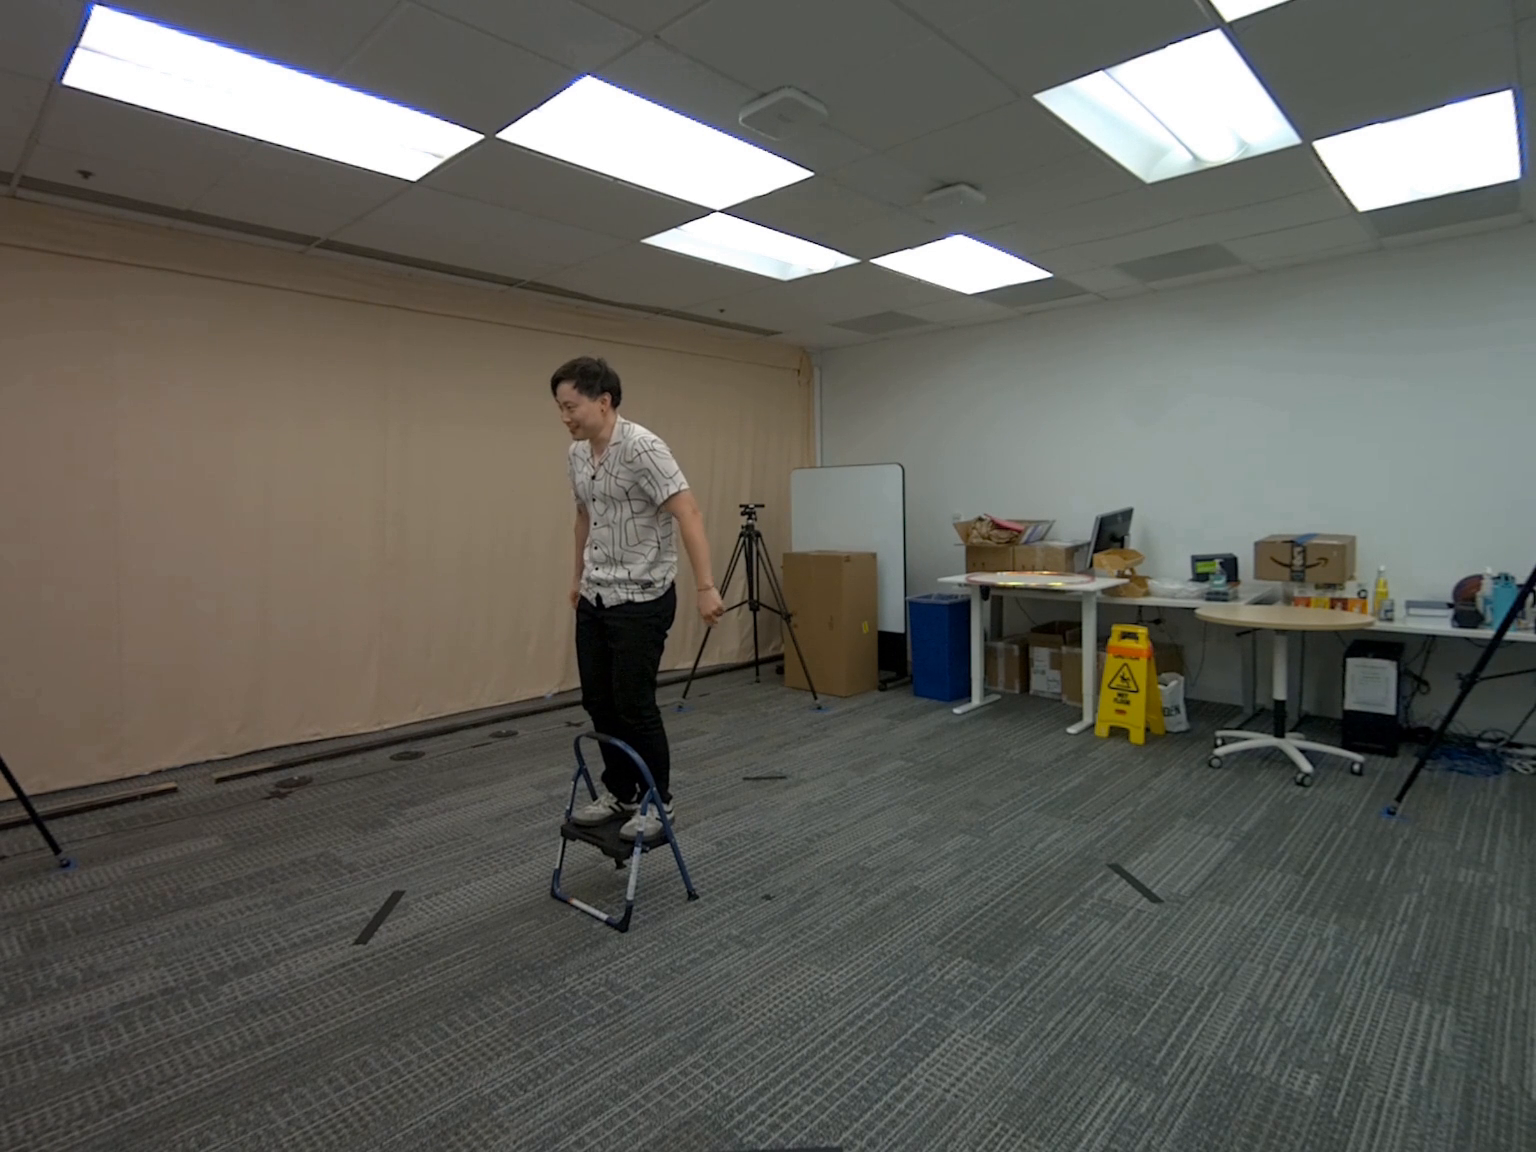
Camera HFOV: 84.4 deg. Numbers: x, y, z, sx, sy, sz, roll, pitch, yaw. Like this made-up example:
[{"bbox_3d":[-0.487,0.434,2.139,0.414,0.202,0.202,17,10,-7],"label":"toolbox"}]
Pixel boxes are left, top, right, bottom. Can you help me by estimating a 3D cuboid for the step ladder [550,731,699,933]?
[{"bbox_3d":[-0.526,0.845,2.998,0.445,0.604,0.339,2,5,41],"label":"step ladder"}]
